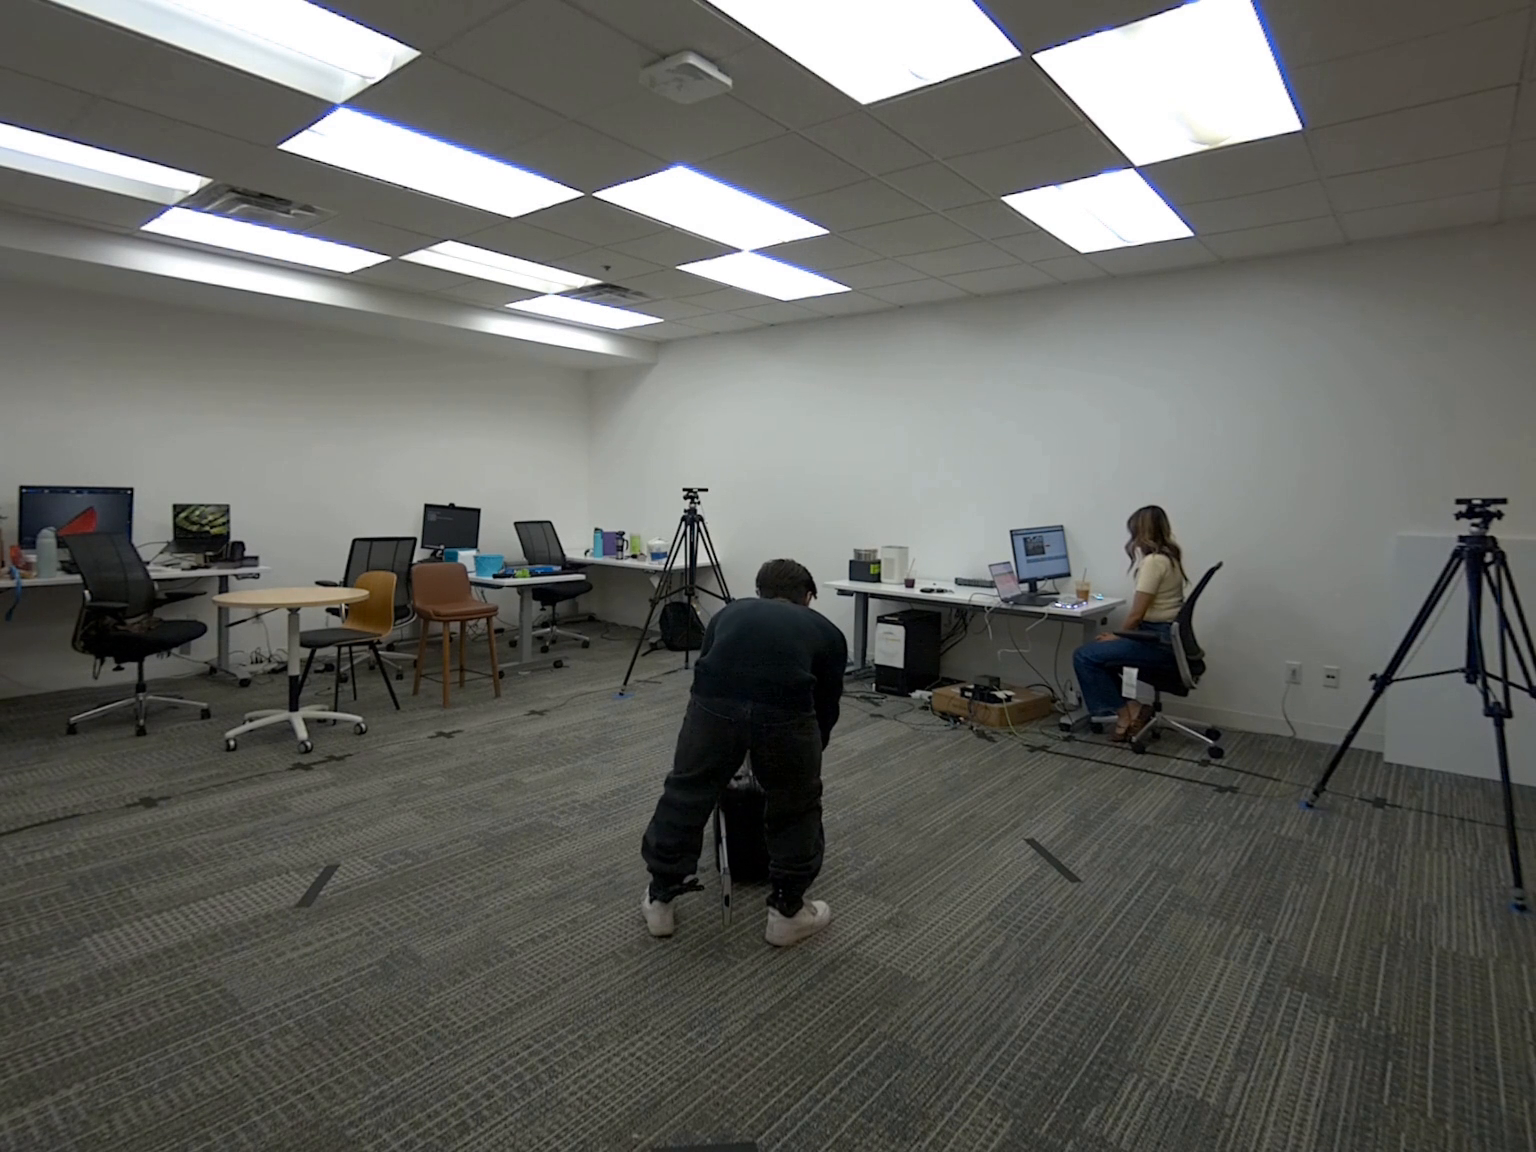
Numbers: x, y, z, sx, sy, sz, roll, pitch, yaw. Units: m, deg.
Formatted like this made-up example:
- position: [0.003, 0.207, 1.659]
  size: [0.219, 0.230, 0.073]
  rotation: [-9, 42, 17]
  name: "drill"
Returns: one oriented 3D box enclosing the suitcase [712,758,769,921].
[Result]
- position: [-0.070, 0.895, 3.020]
  size: [0.256, 0.383, 0.985]
  rotation: [0, 4, -5]
  name: "suitcase"
